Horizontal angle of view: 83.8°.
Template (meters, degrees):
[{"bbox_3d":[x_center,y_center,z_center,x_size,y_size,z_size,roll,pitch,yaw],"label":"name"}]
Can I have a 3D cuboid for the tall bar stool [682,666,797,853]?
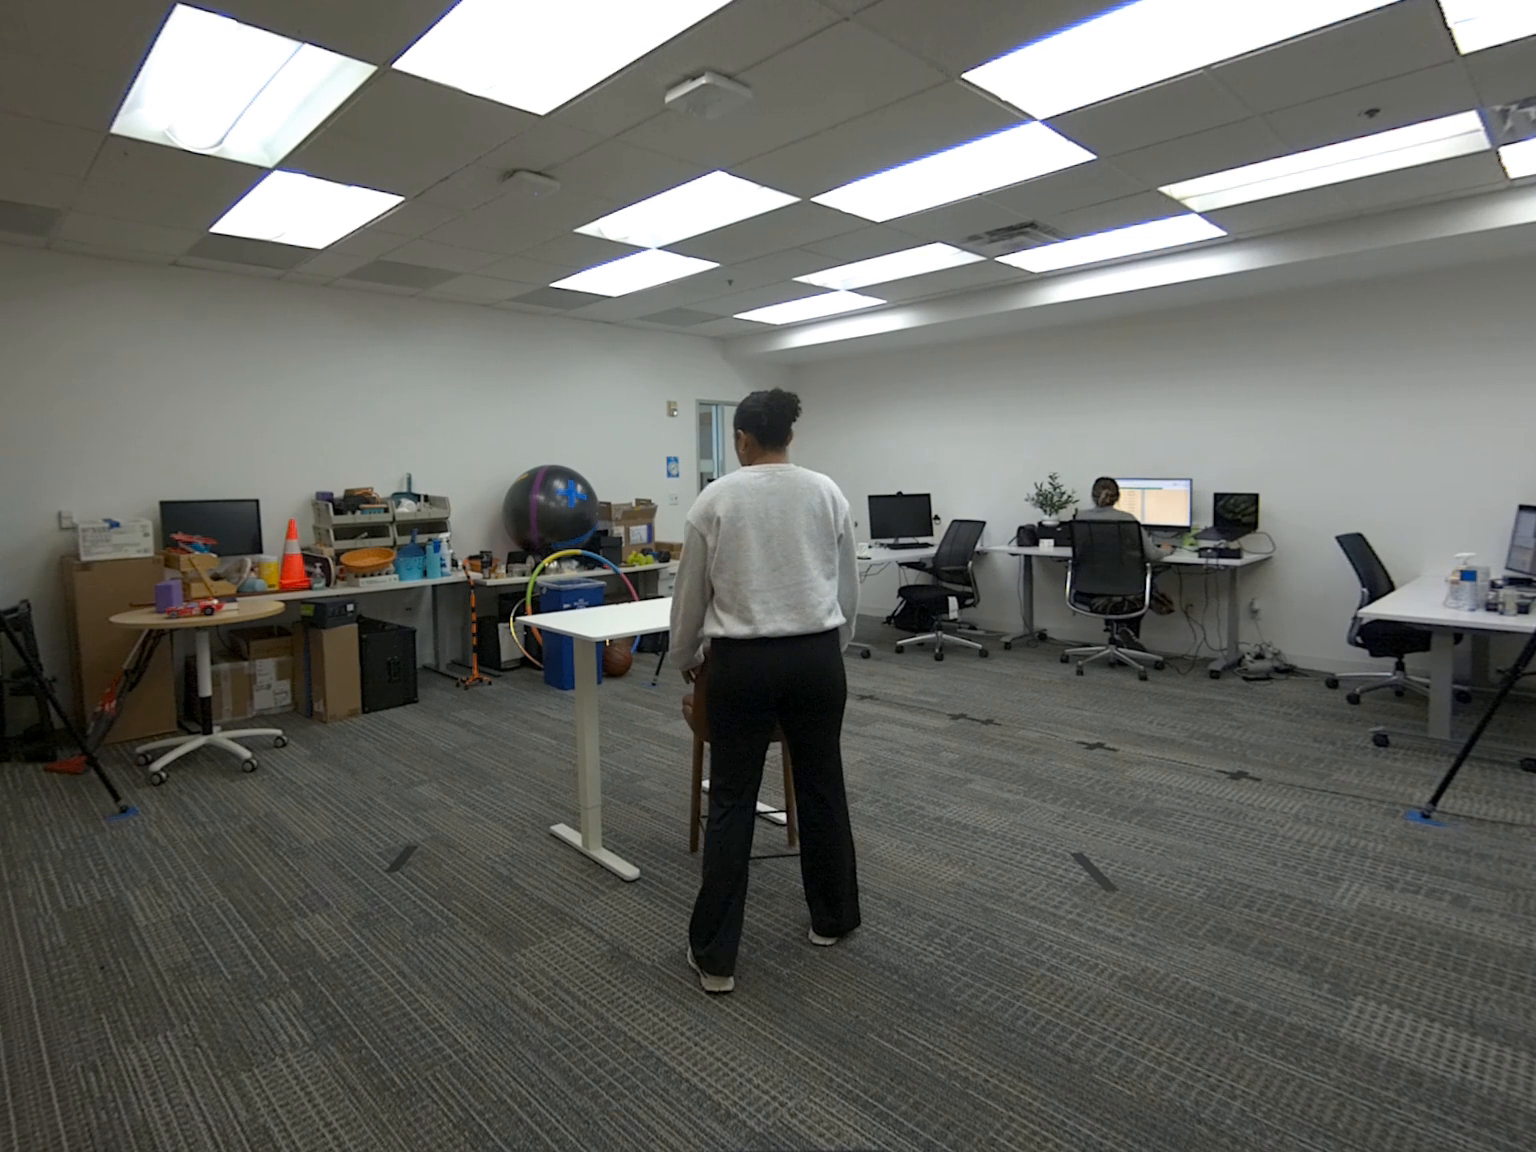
[{"bbox_3d":[-0.054,0.622,2.985,0.452,0.884,0.475,-2,7,-10],"label":"tall bar stool"}]
